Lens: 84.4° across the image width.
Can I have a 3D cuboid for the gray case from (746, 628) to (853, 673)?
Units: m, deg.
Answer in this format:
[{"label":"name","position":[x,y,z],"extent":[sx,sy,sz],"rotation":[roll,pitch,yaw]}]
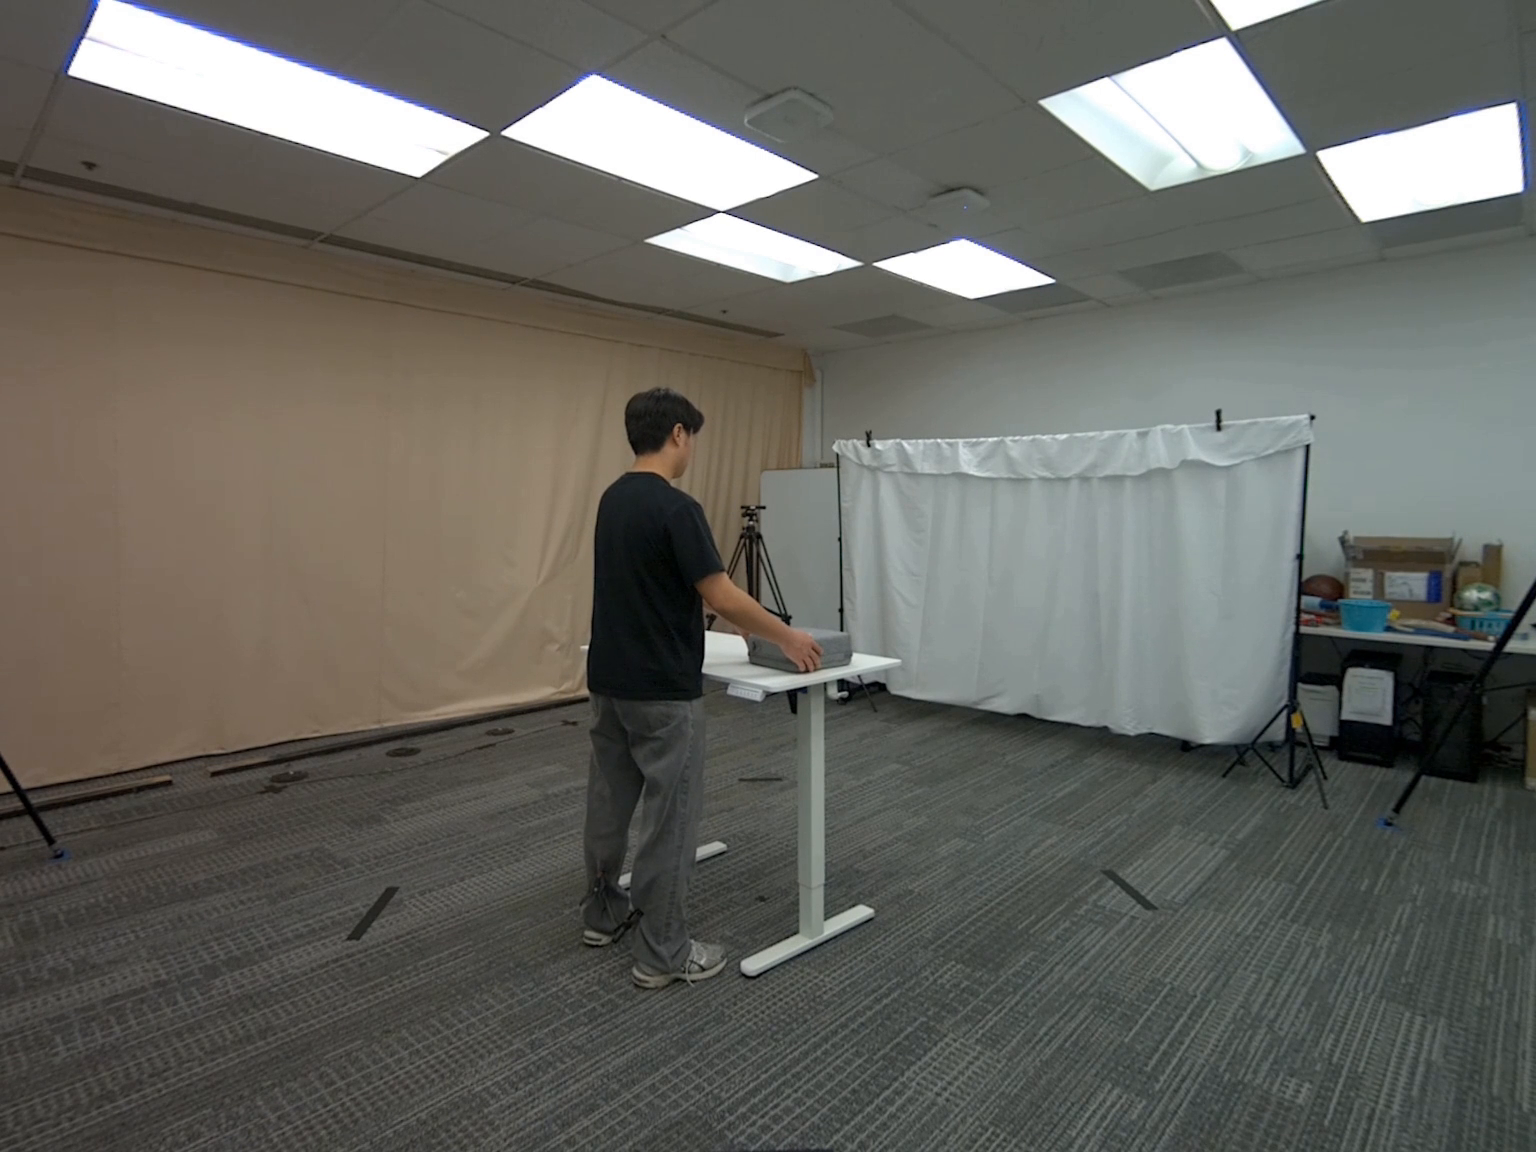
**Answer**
[{"label":"gray case","position":[0.109,0.231,2.707],"extent":[0.255,0.103,0.296],"rotation":[-4,5,-36]}]
